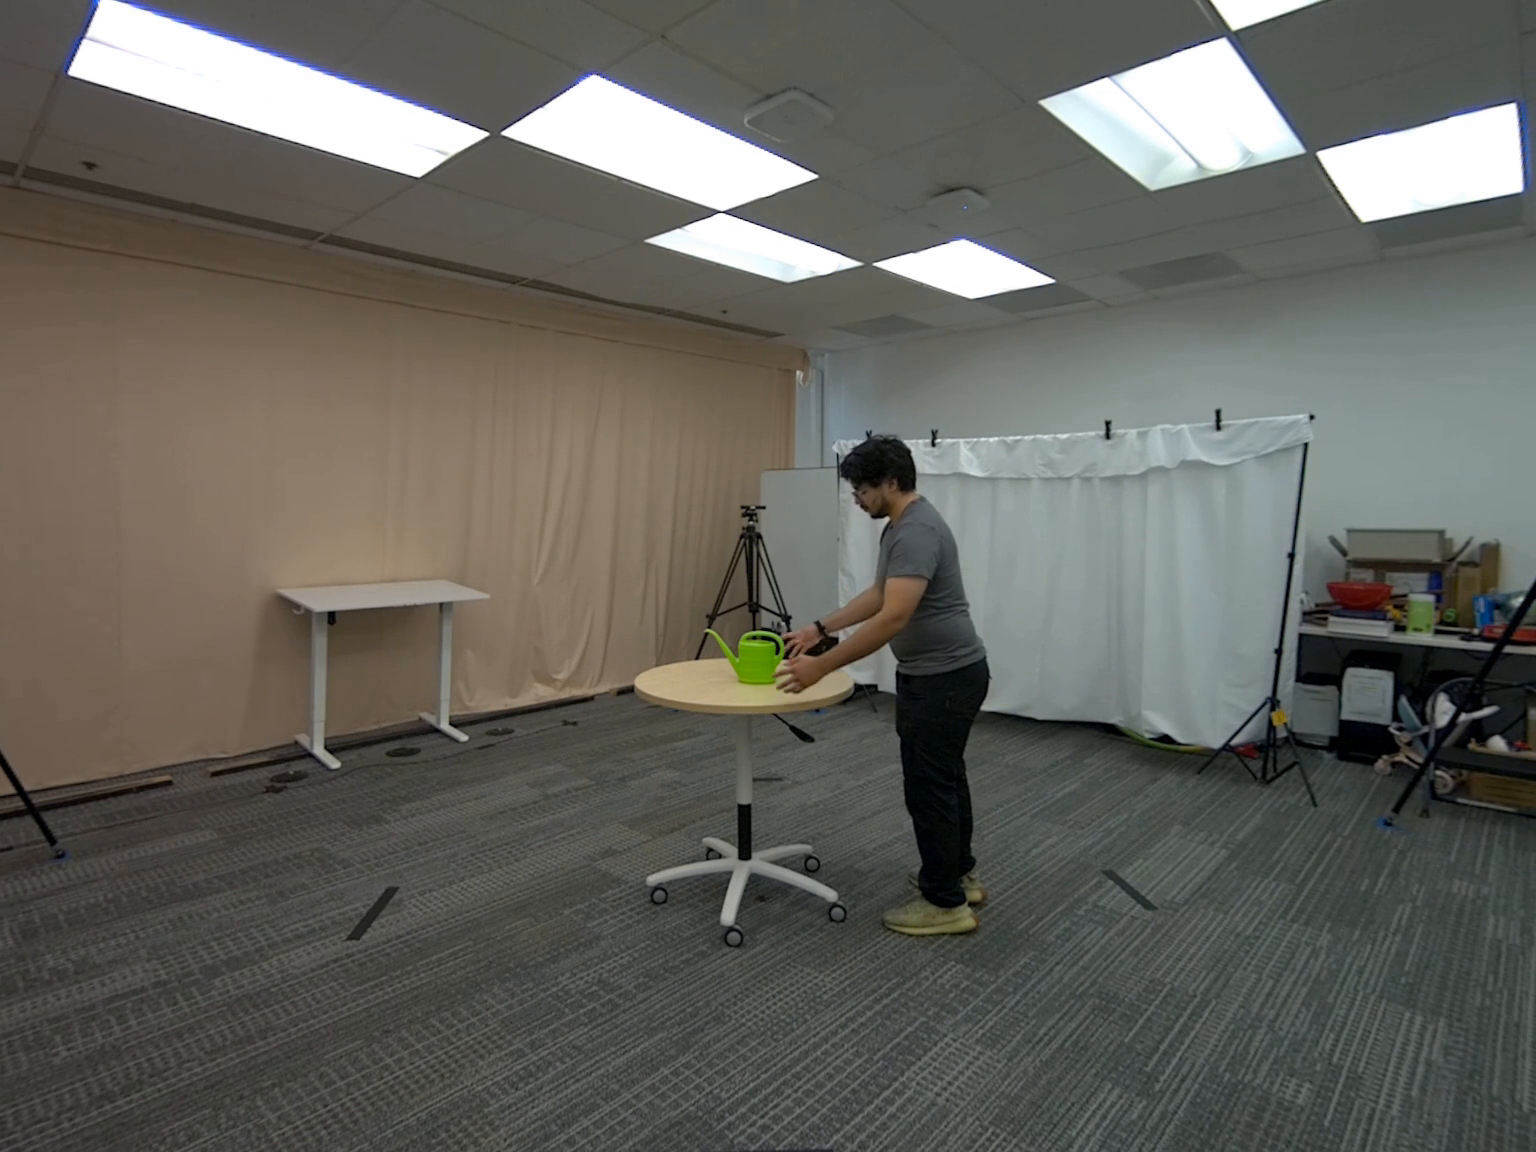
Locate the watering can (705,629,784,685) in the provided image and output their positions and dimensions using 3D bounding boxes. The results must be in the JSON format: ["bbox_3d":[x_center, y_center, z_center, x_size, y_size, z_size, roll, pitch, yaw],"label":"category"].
[{"bbox_3d":[-0.069,0.279,2.925,0.284,0.176,0.096,4,5,19],"label":"watering can"}]
